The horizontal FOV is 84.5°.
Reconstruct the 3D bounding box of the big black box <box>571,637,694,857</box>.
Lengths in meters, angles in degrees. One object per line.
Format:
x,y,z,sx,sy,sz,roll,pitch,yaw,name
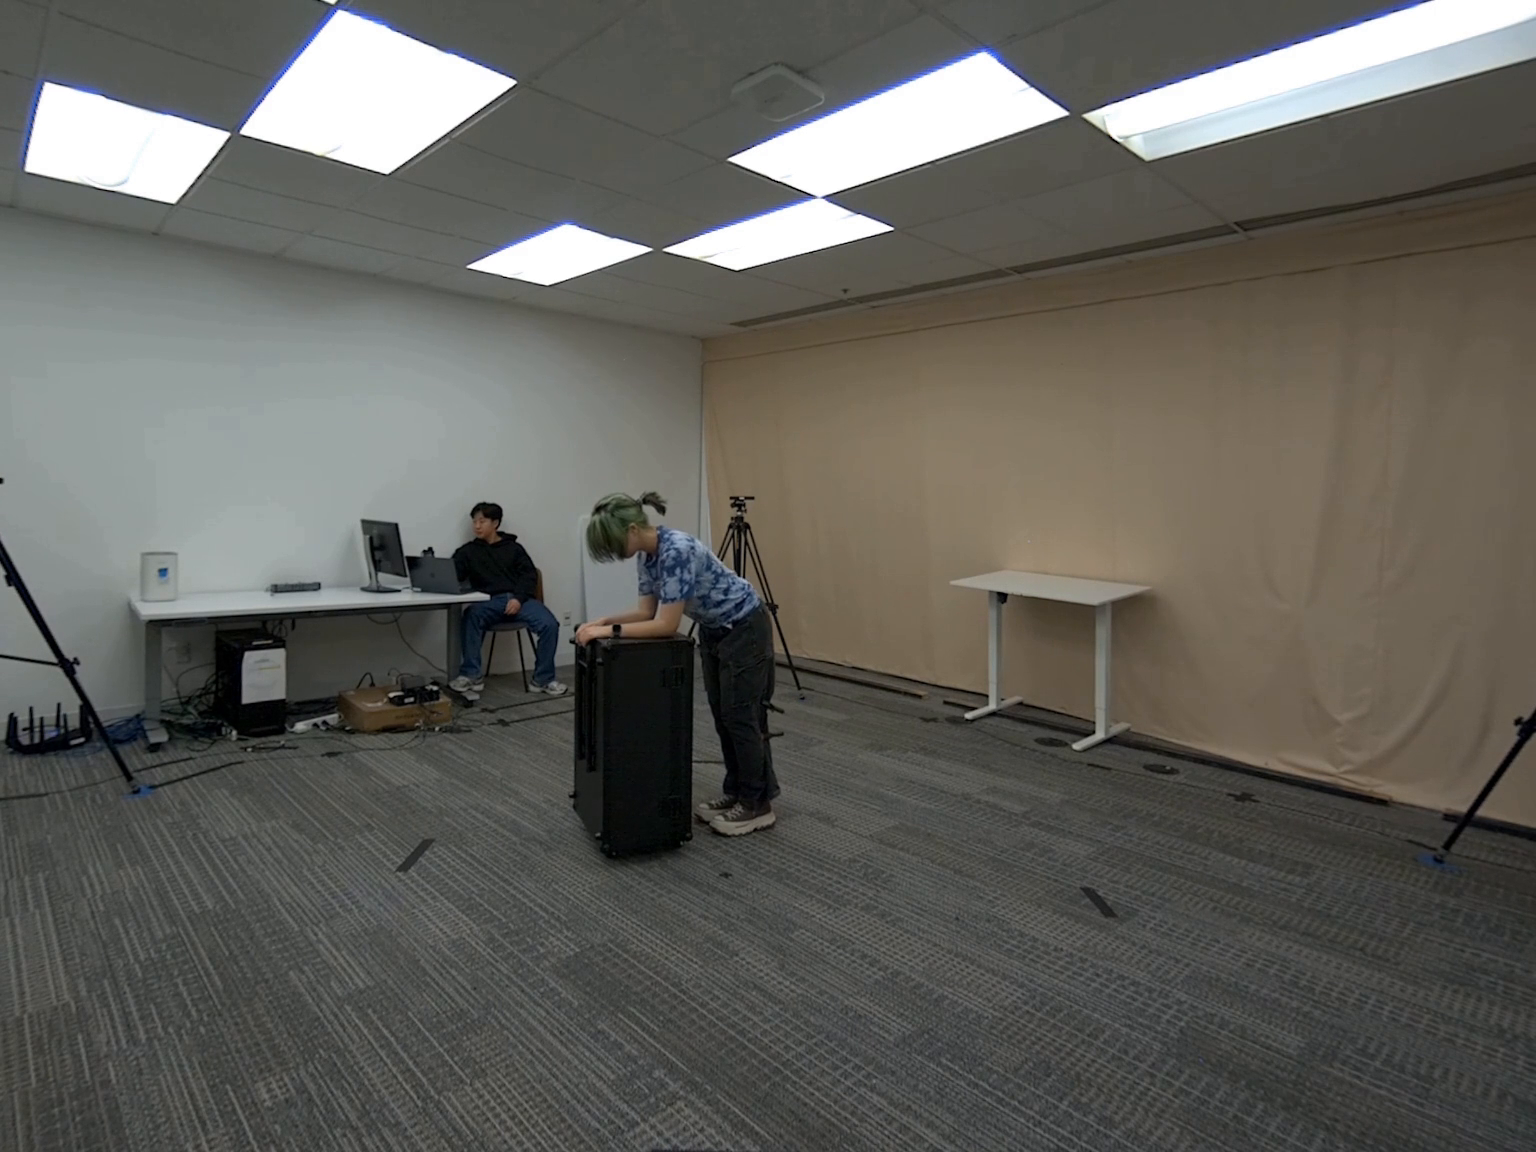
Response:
-0.565,0.589,3.360,0.389,0.859,0.532,-1,4,-25,big black box
